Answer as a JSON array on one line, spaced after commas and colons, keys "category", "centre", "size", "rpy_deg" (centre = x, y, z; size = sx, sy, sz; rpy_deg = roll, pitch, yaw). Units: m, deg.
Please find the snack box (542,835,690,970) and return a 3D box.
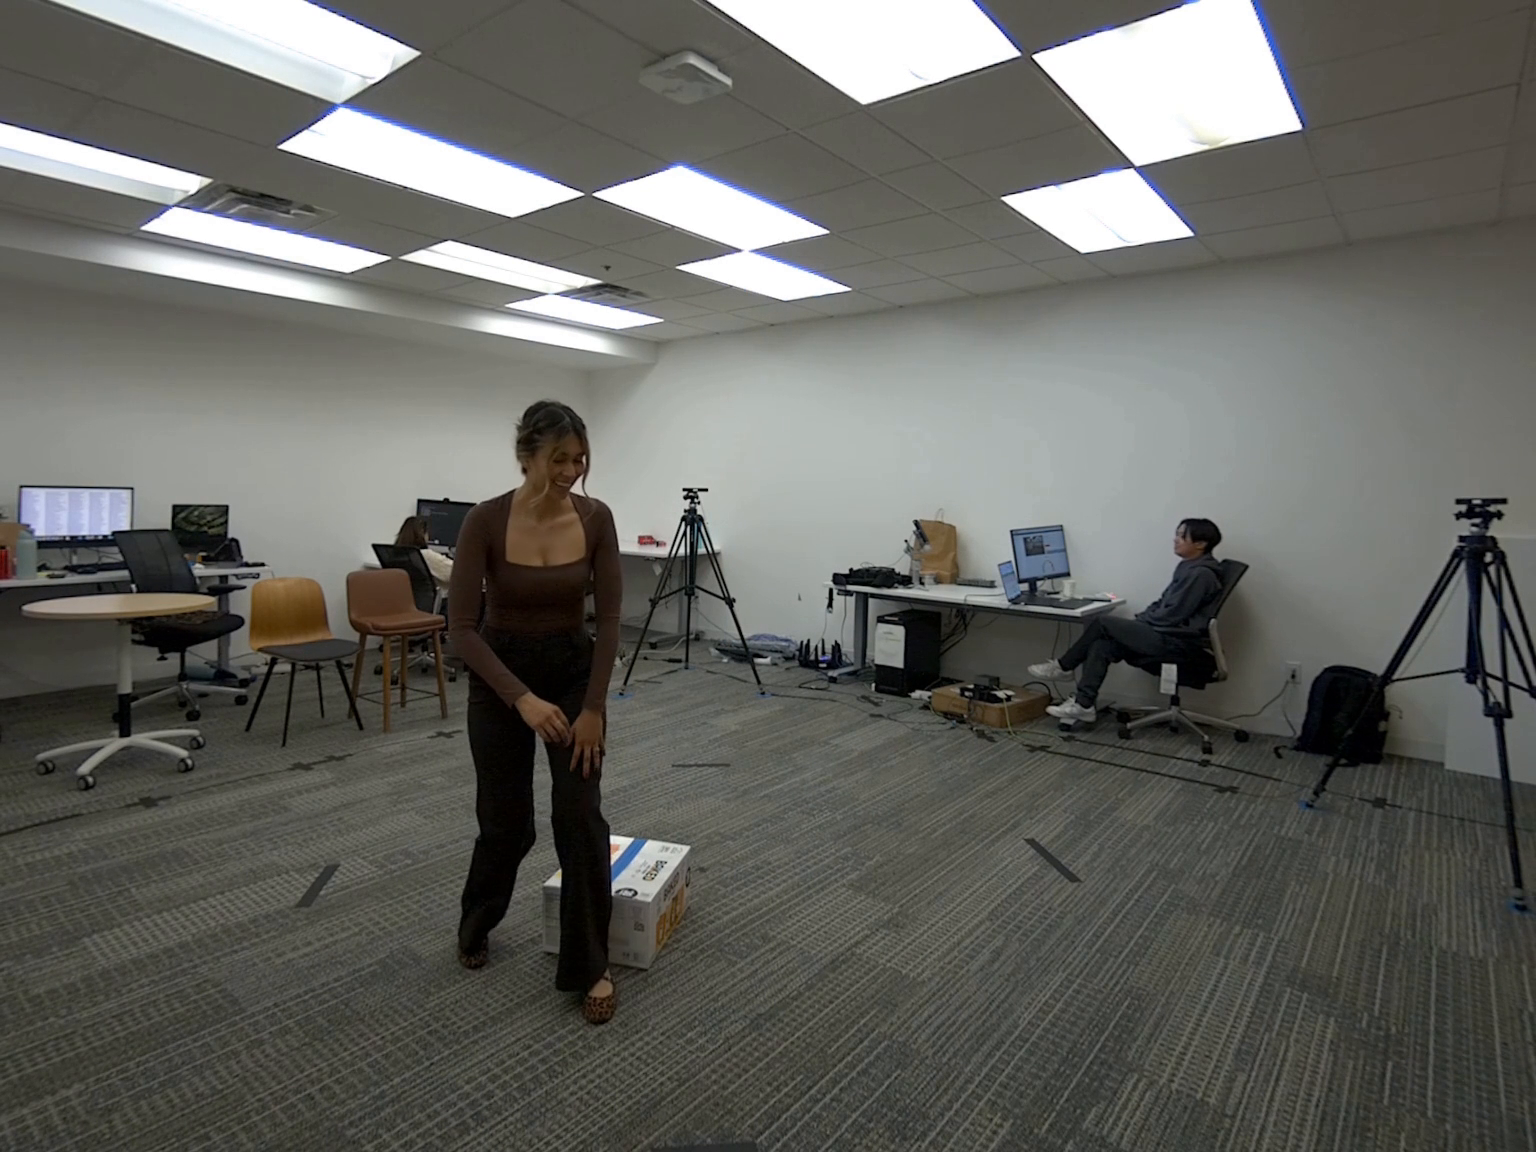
[{"category": "snack box", "centre": [-0.472, 1.004, 2.670], "size": [0.346, 0.205, 0.400], "rpy_deg": [2, 5, 13]}]
